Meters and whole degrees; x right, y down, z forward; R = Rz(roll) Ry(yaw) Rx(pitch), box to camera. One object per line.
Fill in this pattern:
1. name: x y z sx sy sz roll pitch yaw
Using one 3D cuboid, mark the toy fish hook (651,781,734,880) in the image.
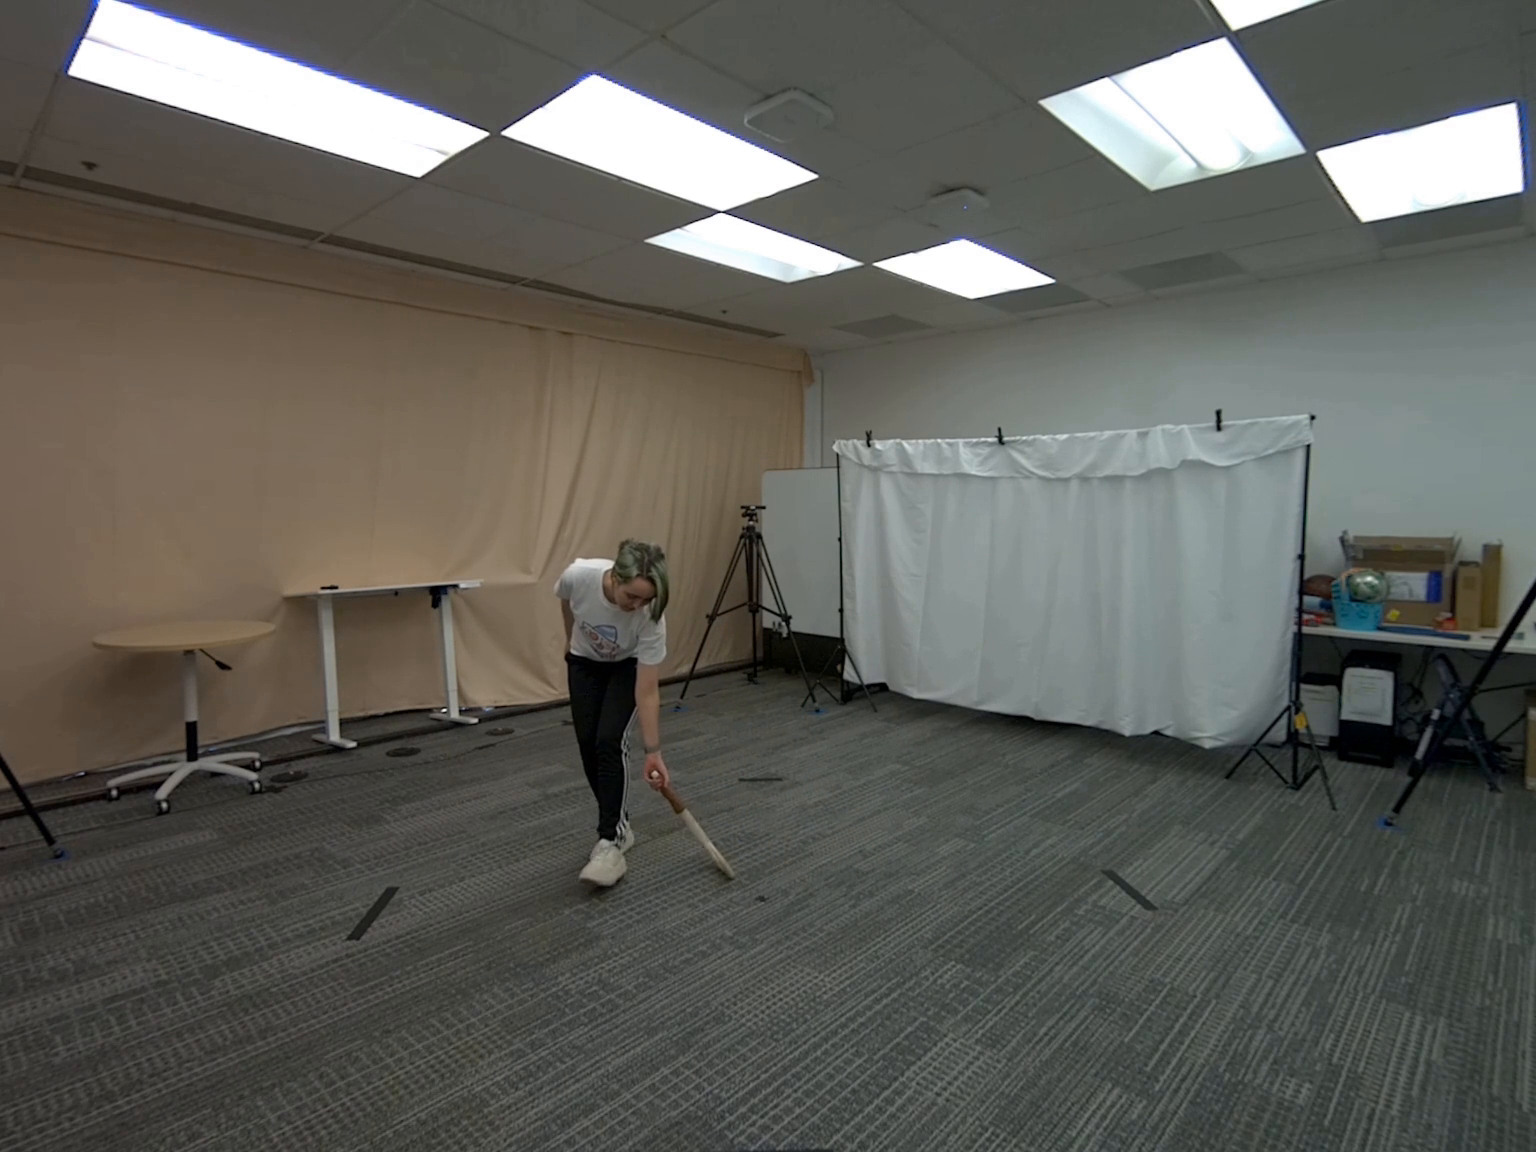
1. toy fish hook: -0.273 0.926 3.126 0.048 0.498 0.230 -41 16 -18
